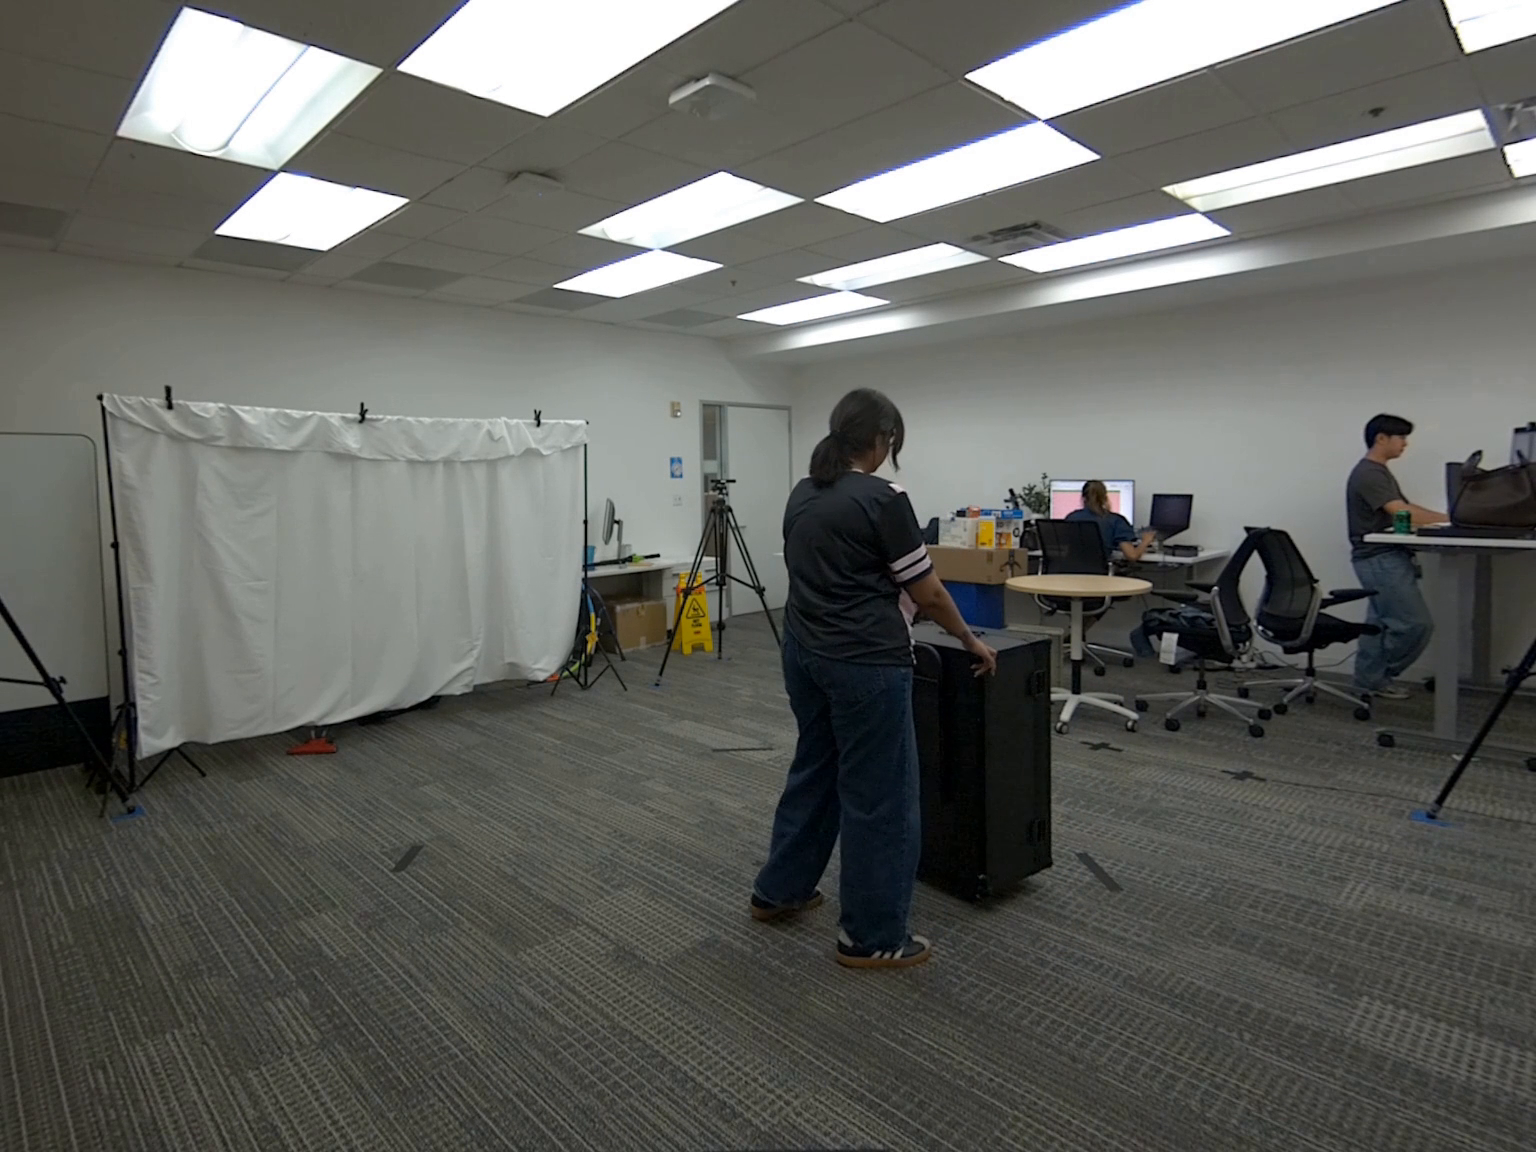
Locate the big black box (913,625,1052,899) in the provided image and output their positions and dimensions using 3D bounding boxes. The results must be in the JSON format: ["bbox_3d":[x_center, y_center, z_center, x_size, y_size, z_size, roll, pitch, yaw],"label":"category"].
[{"bbox_3d":[0.670,0.630,2.951,0.375,0.865,0.539,-5,6,-38],"label":"big black box"}]
